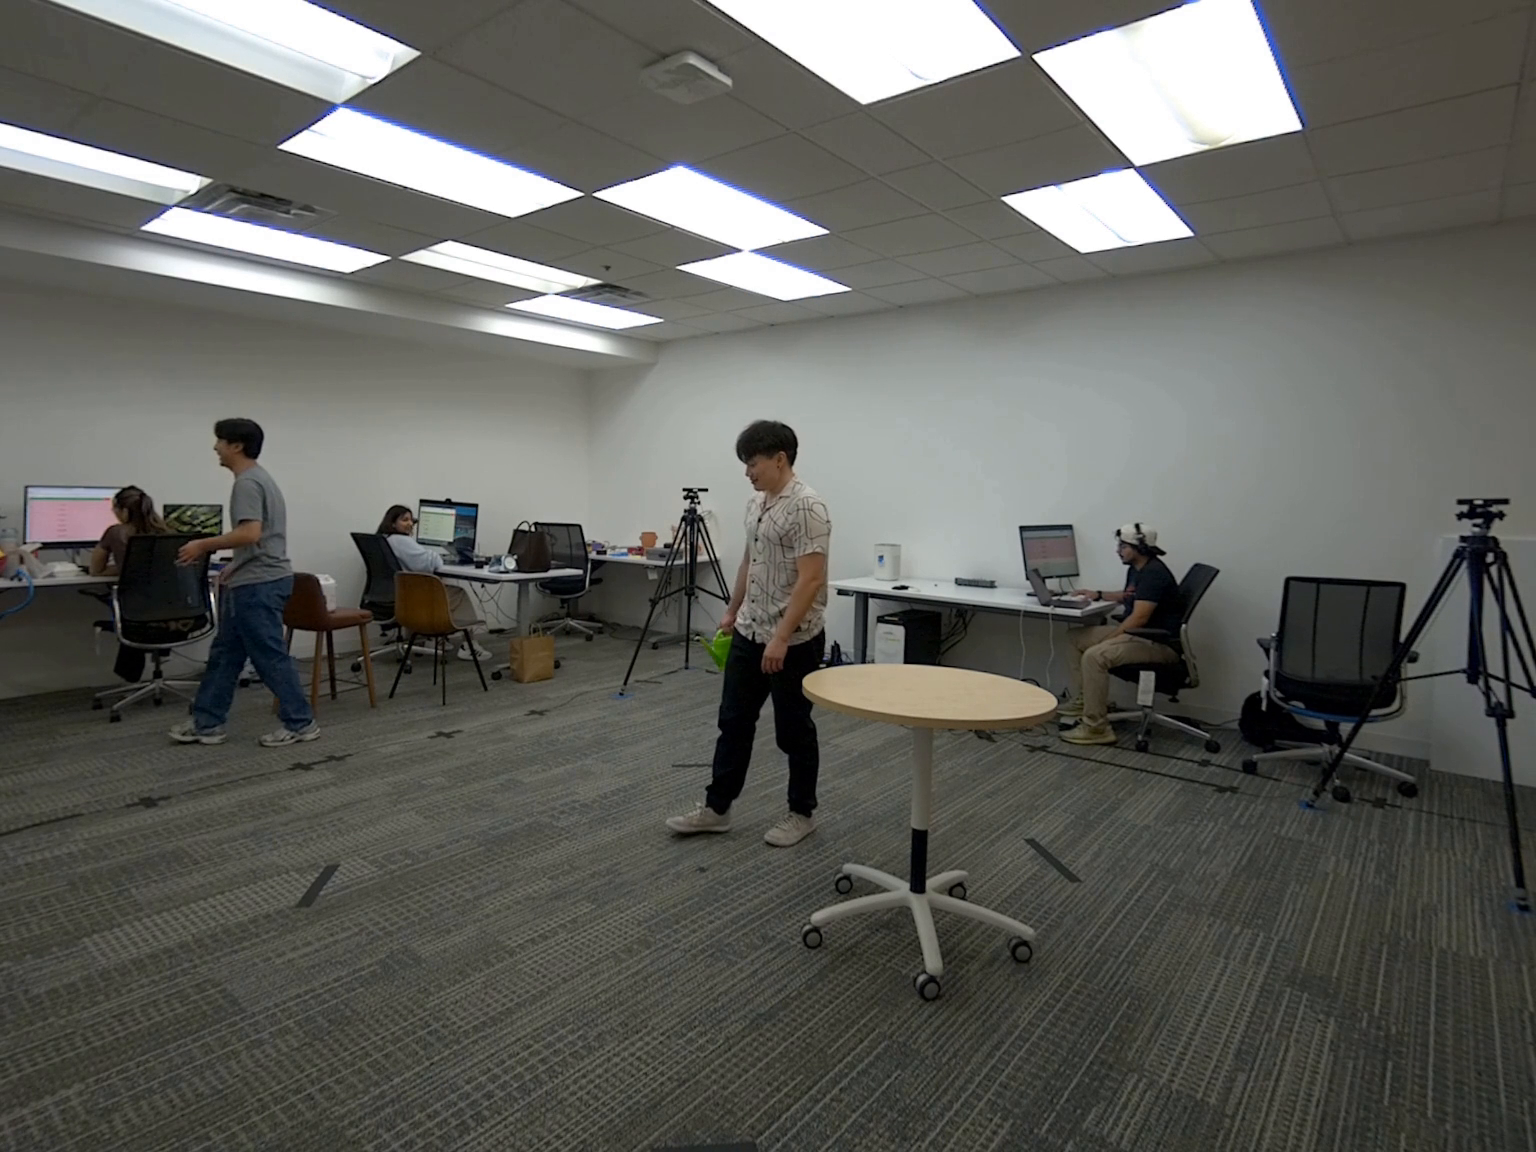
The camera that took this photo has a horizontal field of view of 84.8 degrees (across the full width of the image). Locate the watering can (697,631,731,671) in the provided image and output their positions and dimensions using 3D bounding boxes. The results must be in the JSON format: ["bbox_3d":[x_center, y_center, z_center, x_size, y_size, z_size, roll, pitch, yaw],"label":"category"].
[{"bbox_3d":[-0.218,0.308,3.623,0.271,0.175,0.101,-11,9,-38],"label":"watering can"}]
